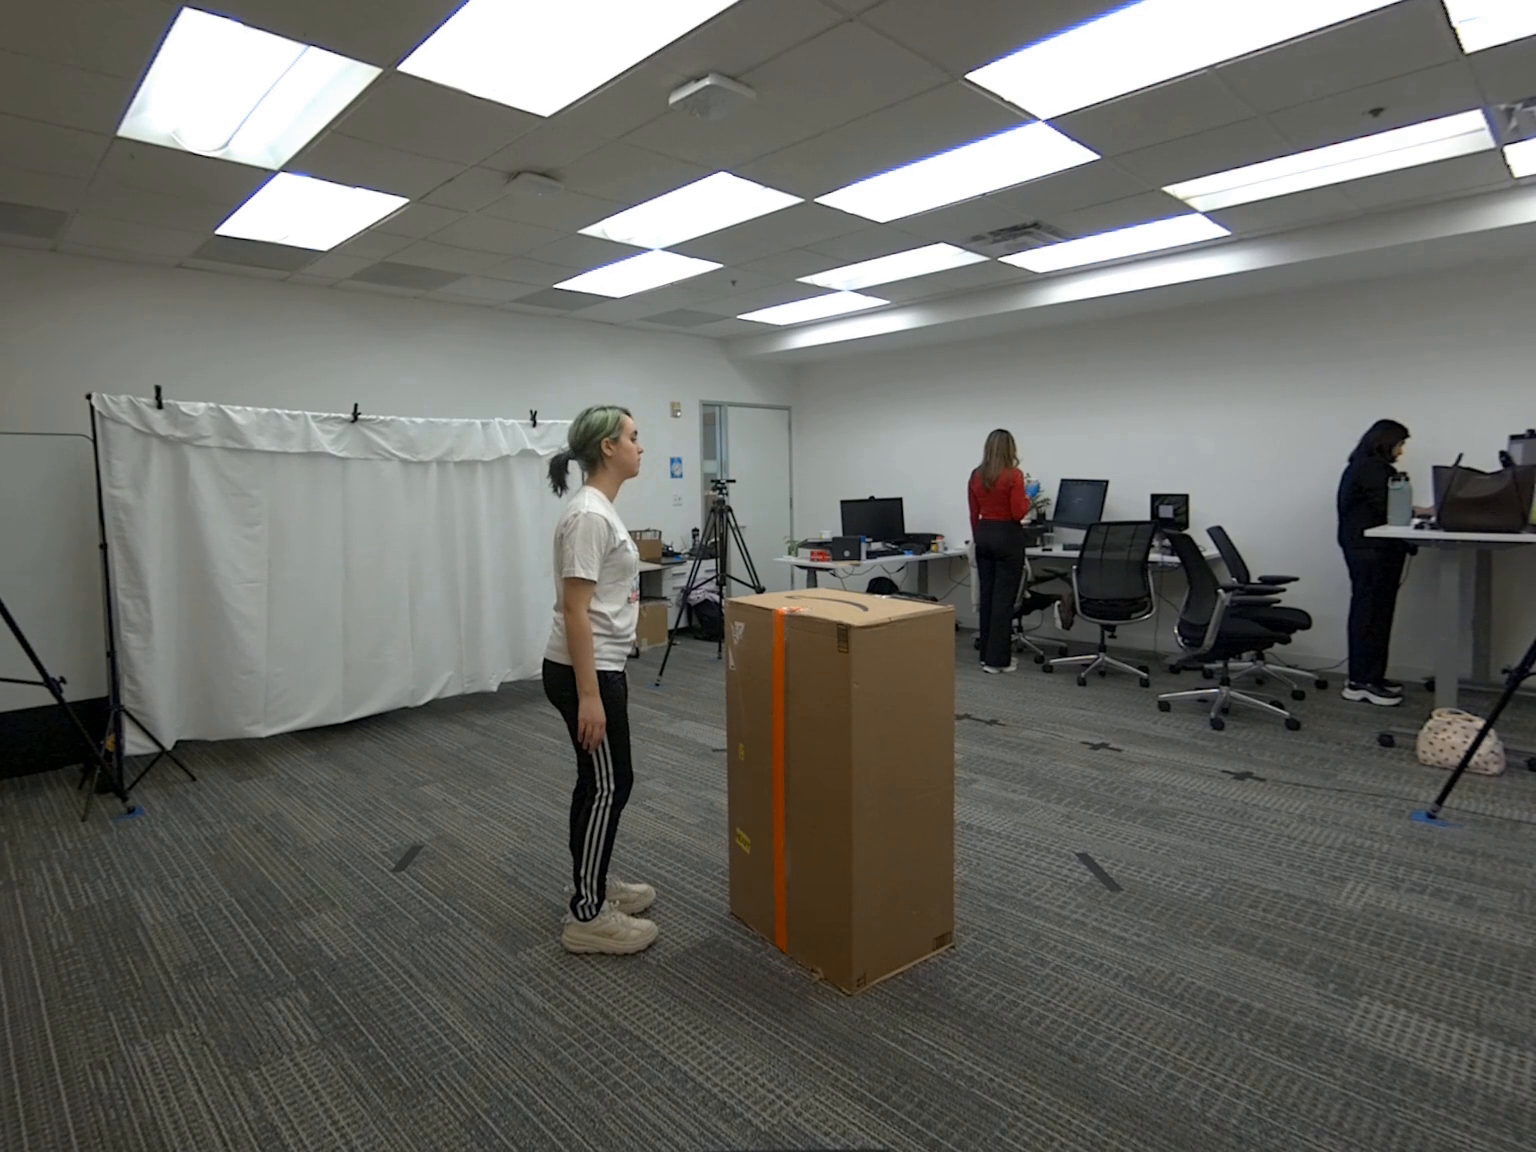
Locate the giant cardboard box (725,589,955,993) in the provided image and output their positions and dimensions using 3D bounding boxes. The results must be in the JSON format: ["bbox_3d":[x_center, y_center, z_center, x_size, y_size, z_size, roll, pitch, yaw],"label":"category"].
[{"bbox_3d":[0.209,0.593,2.619,0.435,1.023,0.602,-3,5,-38],"label":"giant cardboard box"}]
